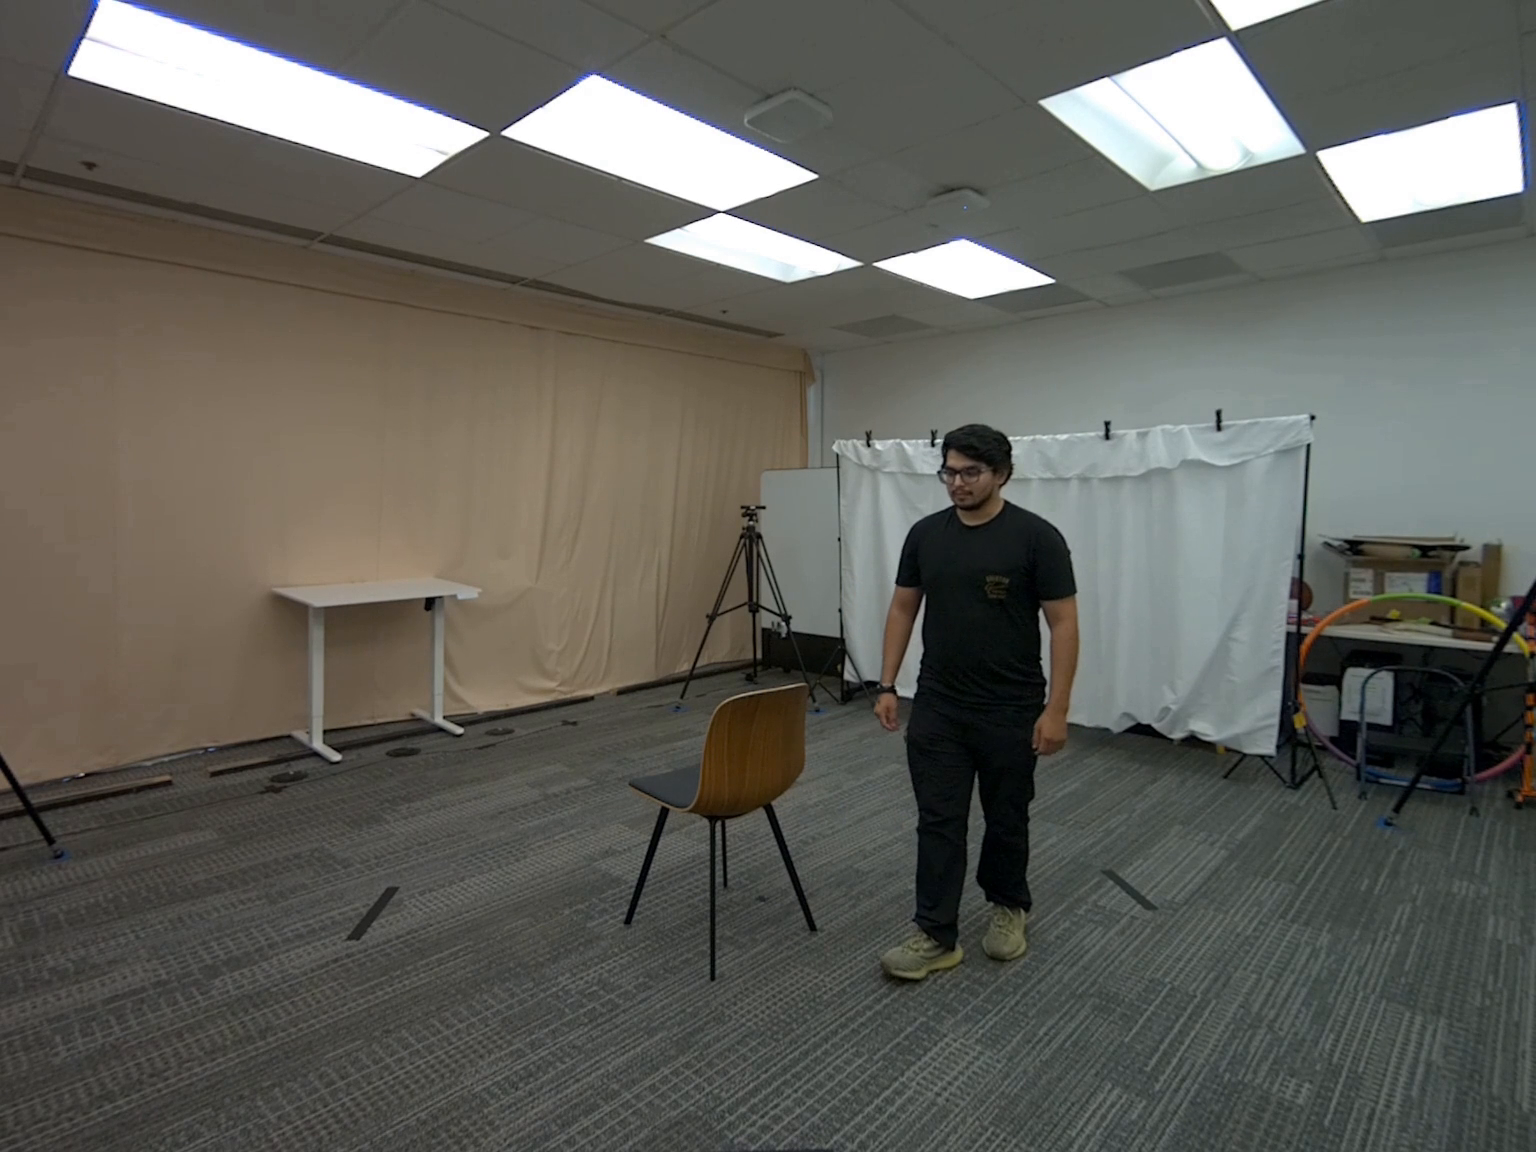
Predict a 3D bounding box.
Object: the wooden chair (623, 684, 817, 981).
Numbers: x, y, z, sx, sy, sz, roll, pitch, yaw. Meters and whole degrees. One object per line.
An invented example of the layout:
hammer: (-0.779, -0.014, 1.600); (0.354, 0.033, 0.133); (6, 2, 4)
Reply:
wooden chair: (-0.165, 0.737, 2.756); (0.463, 0.874, 0.541); (-4, 10, -42)
